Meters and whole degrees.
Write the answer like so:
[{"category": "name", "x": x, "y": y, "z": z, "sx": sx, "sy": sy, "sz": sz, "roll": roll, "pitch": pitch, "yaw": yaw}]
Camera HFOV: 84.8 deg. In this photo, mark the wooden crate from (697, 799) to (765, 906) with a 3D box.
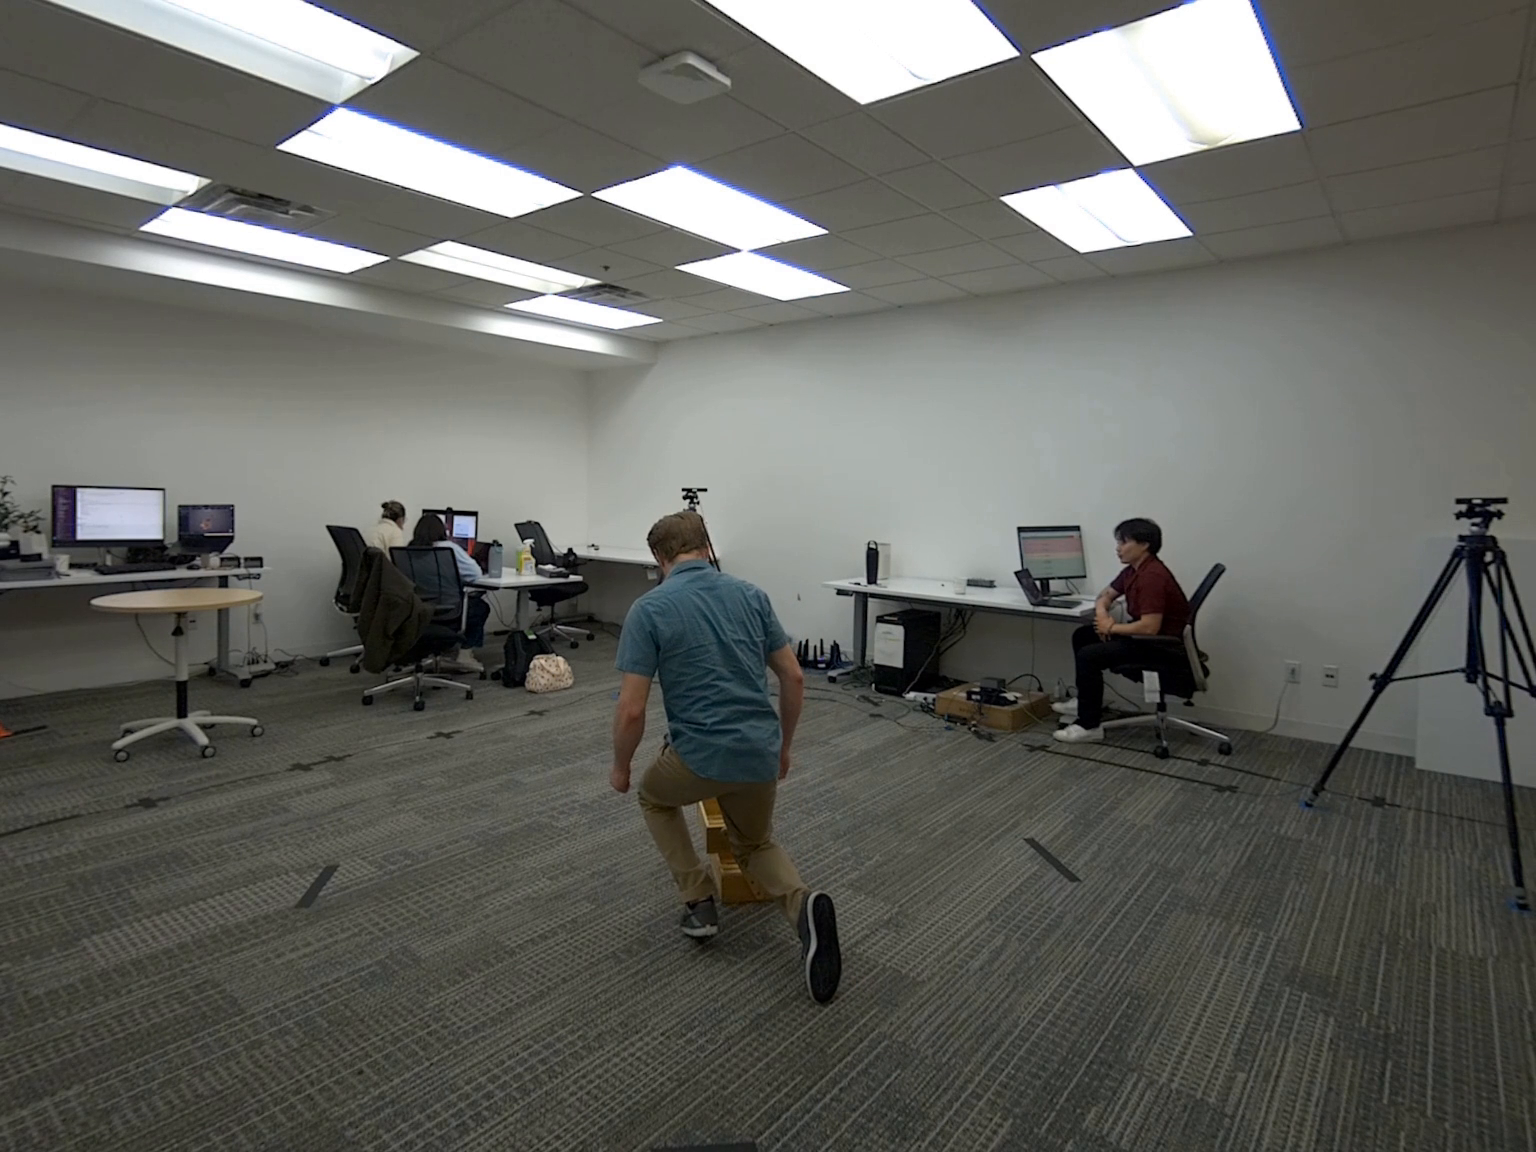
[{"category": "wooden crate", "x": -0.084, "y": 0.951, "z": 3.012, "sx": 0.298, "sy": 0.273, "sz": 0.329, "roll": 3, "pitch": 4, "yaw": -12}]
